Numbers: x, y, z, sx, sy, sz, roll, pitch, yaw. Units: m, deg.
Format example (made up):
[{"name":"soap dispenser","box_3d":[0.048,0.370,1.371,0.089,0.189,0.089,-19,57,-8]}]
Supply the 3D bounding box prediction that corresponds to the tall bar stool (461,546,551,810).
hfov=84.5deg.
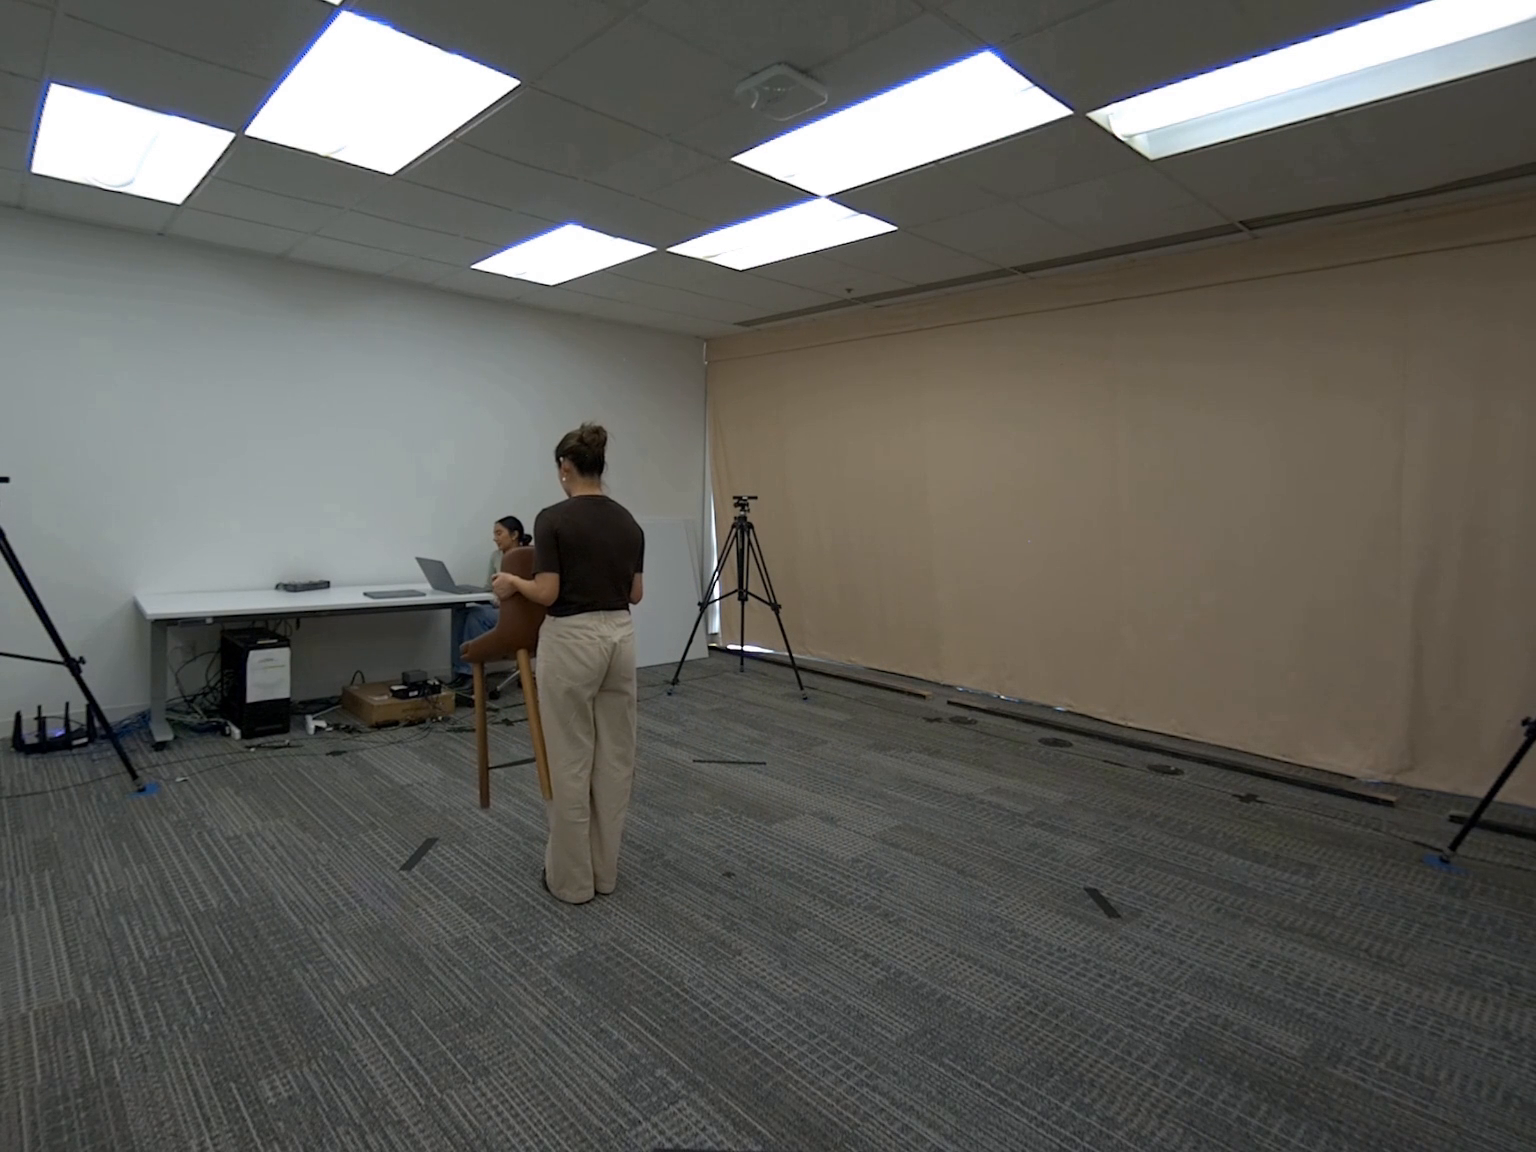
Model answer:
[{"name":"tall bar stool","box_3d":[-0.865,0.378,3.161,0.446,0.896,0.475,-3,-11,-45]}]
